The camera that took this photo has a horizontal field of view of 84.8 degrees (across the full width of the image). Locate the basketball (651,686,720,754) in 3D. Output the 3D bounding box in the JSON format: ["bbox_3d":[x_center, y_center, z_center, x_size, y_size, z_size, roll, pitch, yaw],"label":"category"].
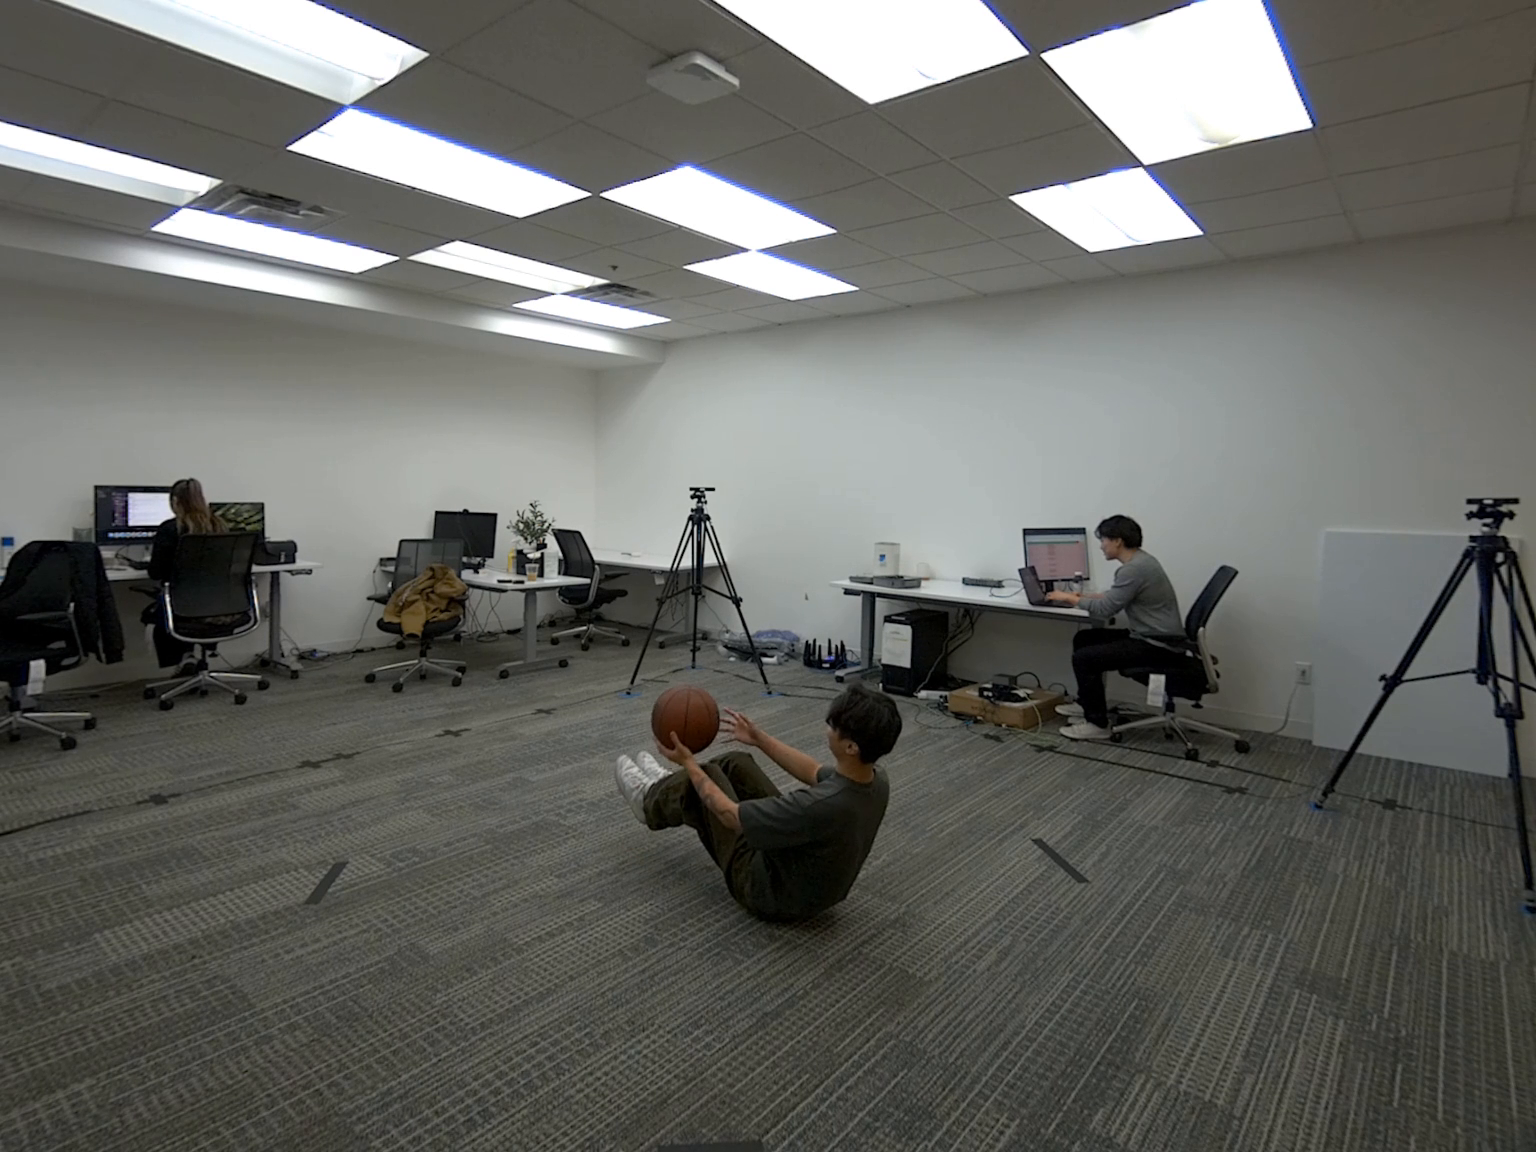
[{"bbox_3d":[-0.290,0.503,2.938,0.235,0.235,0.237,1,4,-2],"label":"basketball"}]
